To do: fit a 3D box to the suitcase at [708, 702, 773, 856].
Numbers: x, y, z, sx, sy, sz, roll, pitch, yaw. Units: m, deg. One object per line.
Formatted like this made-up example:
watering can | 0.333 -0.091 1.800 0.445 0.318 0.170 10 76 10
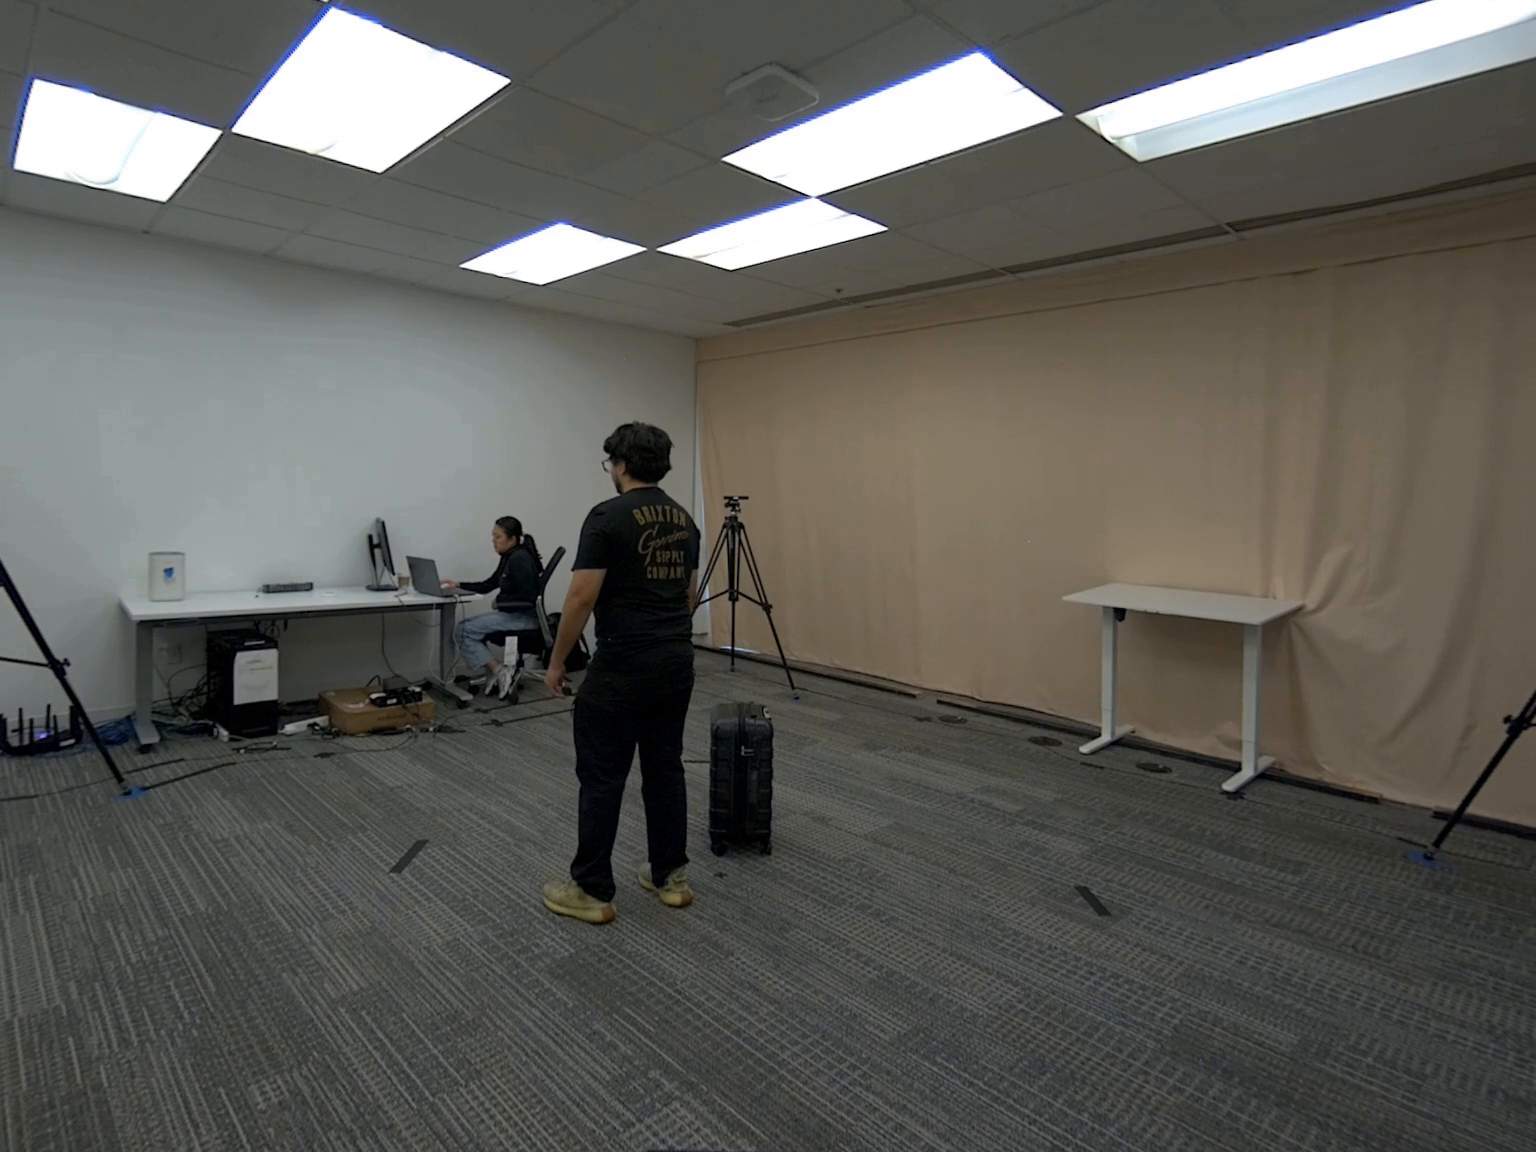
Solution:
suitcase | -0.113 0.801 3.409 0.248 0.548 0.377 1 4 -3
